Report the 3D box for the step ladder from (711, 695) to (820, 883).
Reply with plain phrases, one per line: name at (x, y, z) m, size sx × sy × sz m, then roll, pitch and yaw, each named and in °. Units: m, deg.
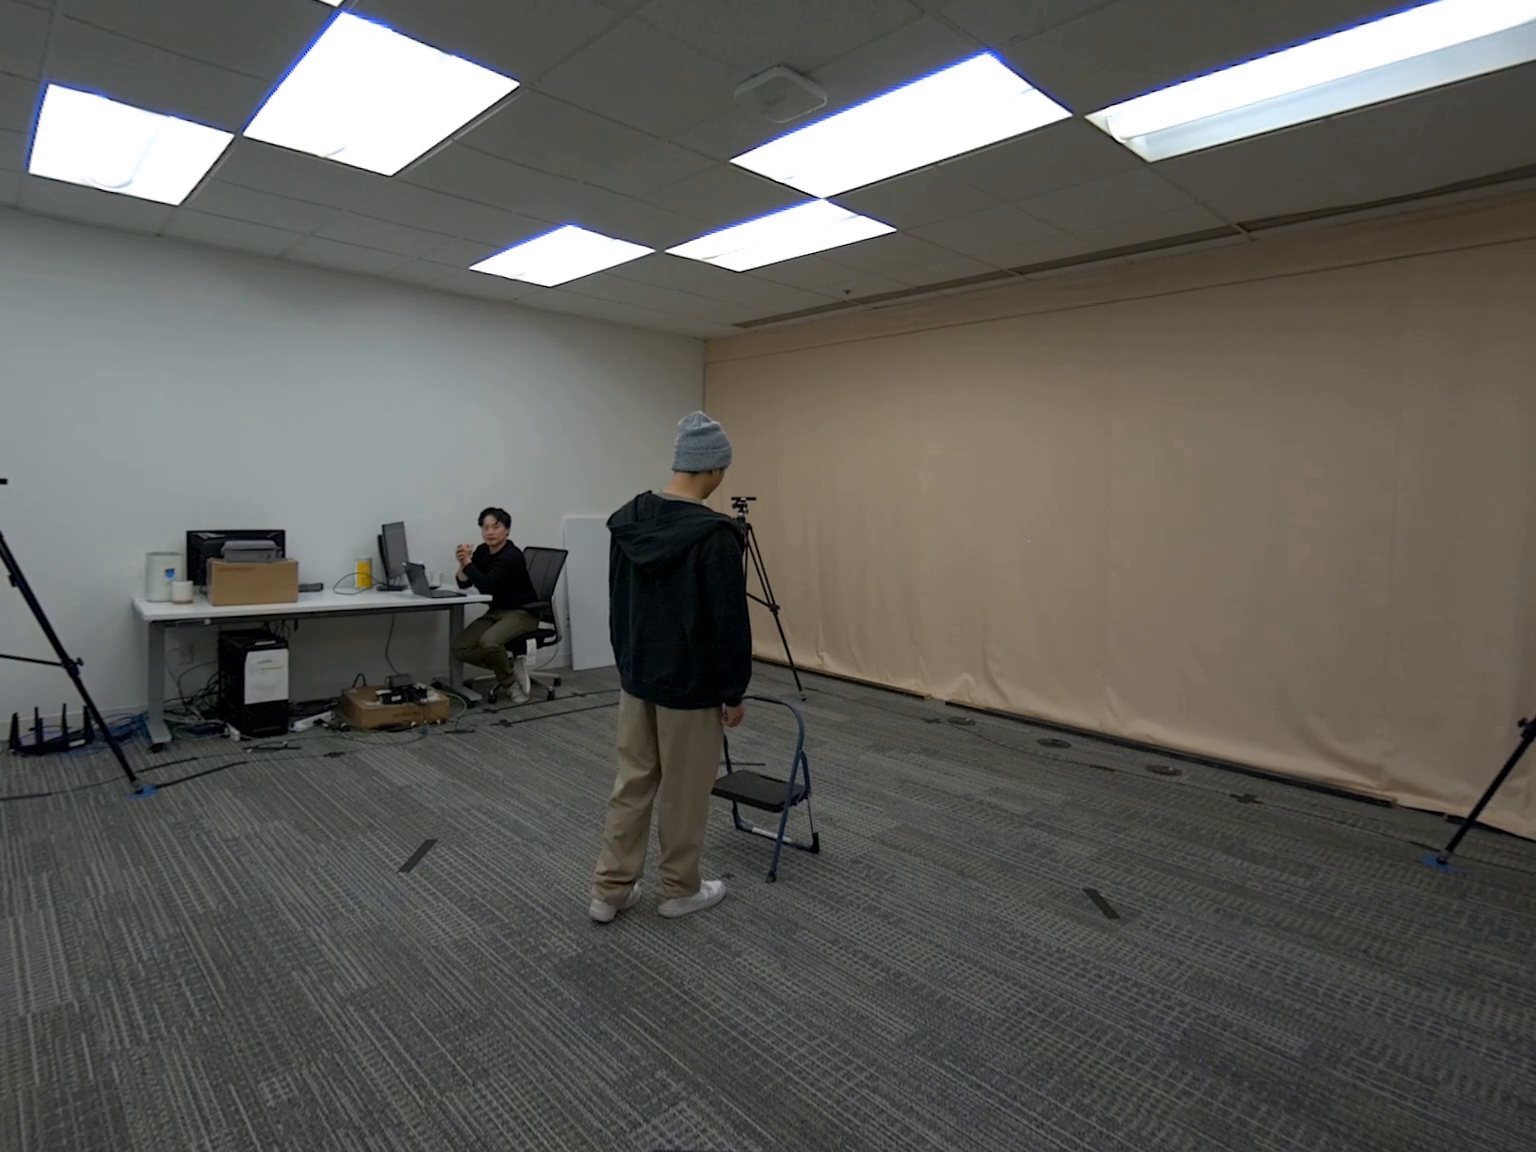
step ladder at (-0.055, 0.788, 3.305) m, size 0.441 × 0.604 × 0.342 m, roll 4°, pitch 4°, yaw 36°
